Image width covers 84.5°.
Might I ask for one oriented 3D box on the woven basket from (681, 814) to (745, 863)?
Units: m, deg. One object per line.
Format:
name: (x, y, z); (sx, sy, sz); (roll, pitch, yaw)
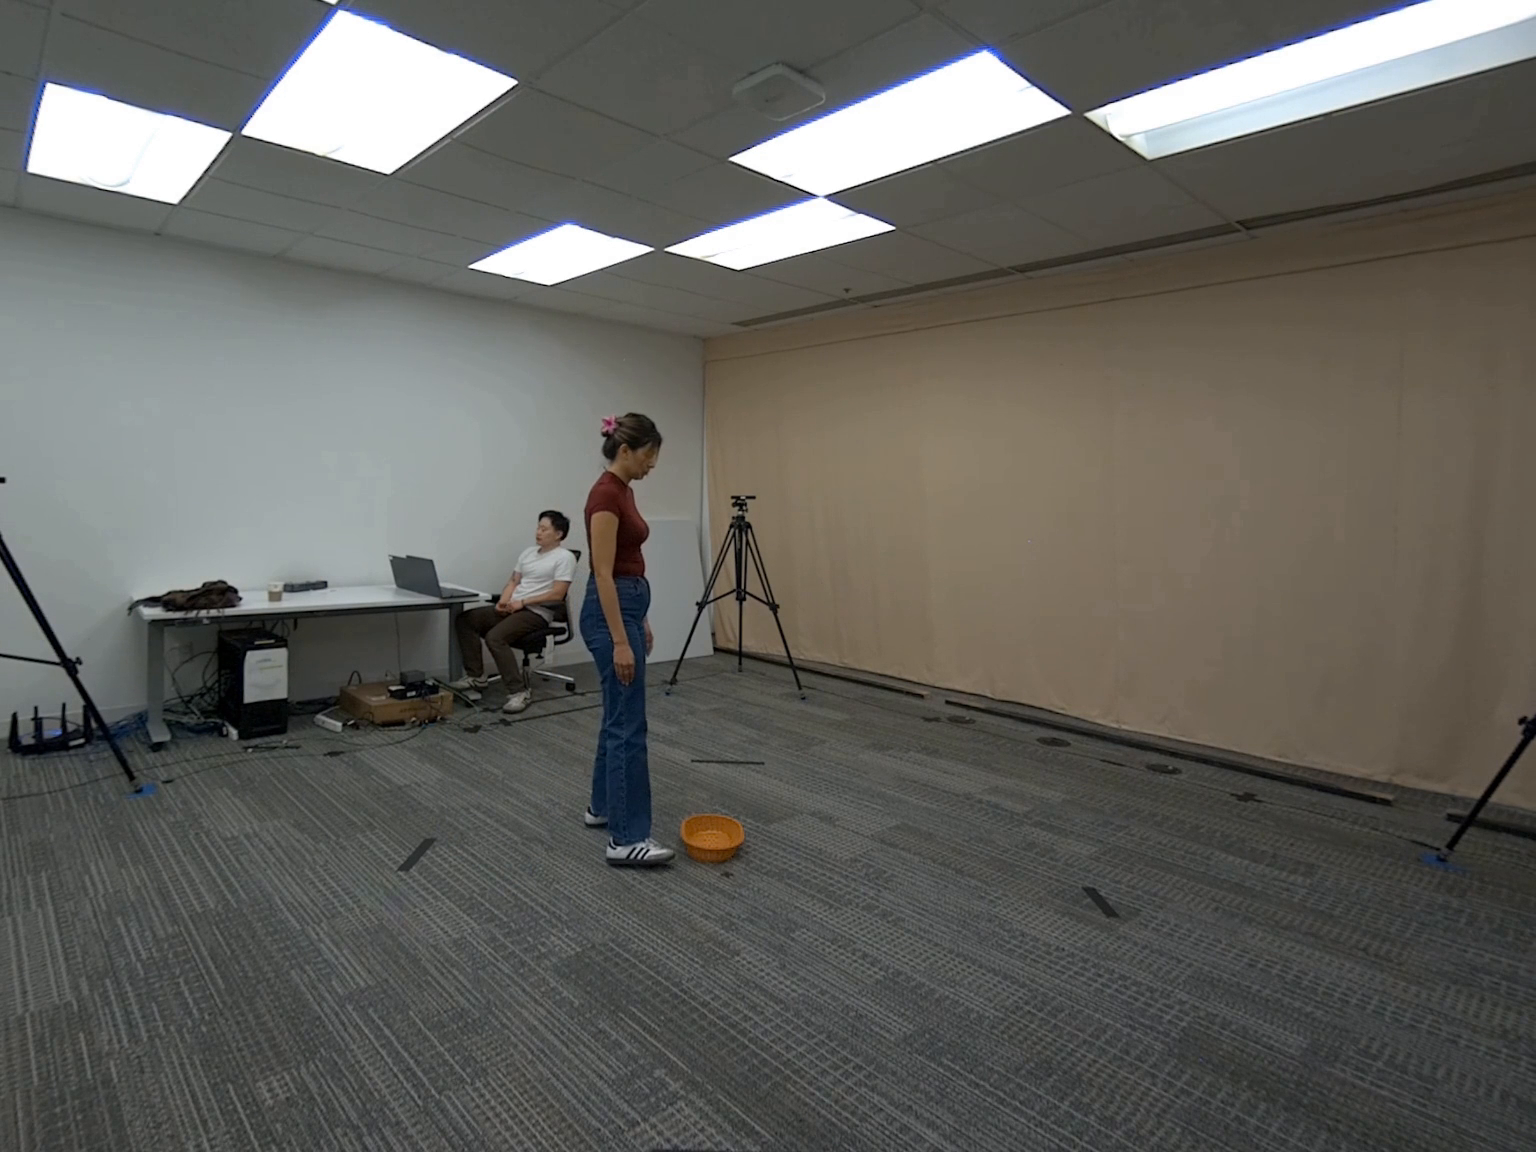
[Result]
woven basket: (-0.230, 1.045, 3.334); (0.252, 0.073, 0.352); (2, 5, -3)
